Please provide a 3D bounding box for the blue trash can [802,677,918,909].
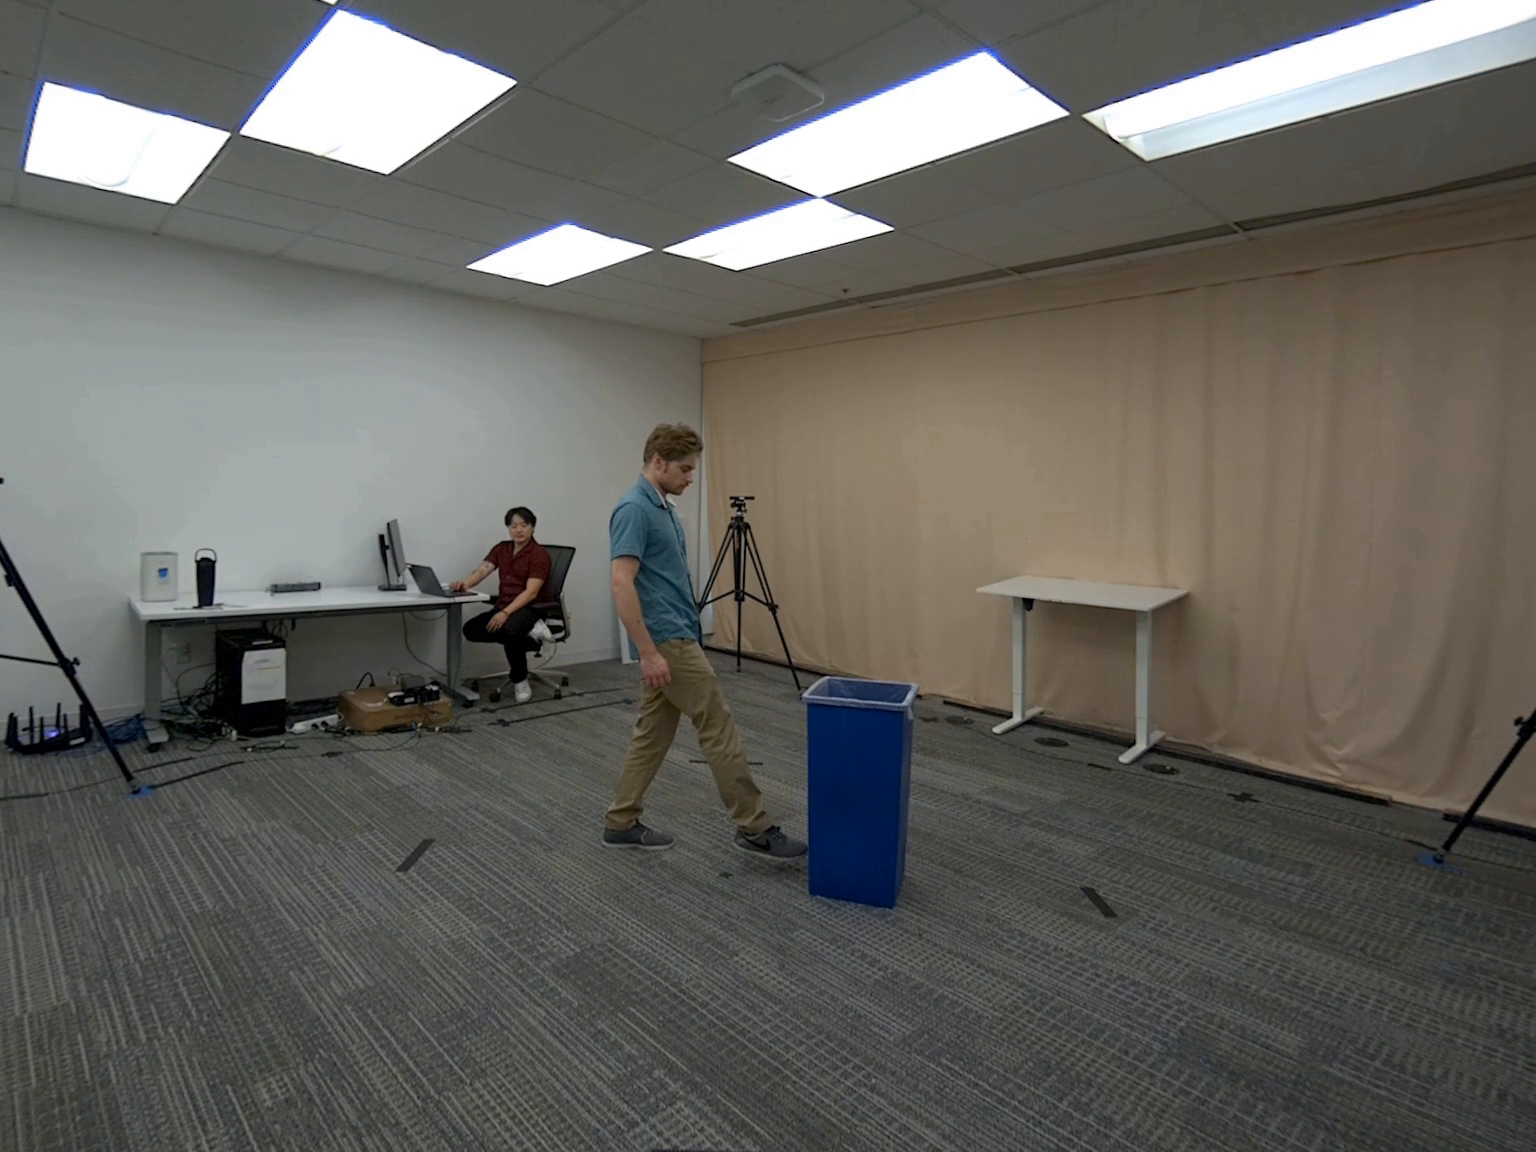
[{"bbox_3d":[0.322,0.765,3.037,0.379,0.712,0.373,3,3,17],"label":"blue trash can"}]
